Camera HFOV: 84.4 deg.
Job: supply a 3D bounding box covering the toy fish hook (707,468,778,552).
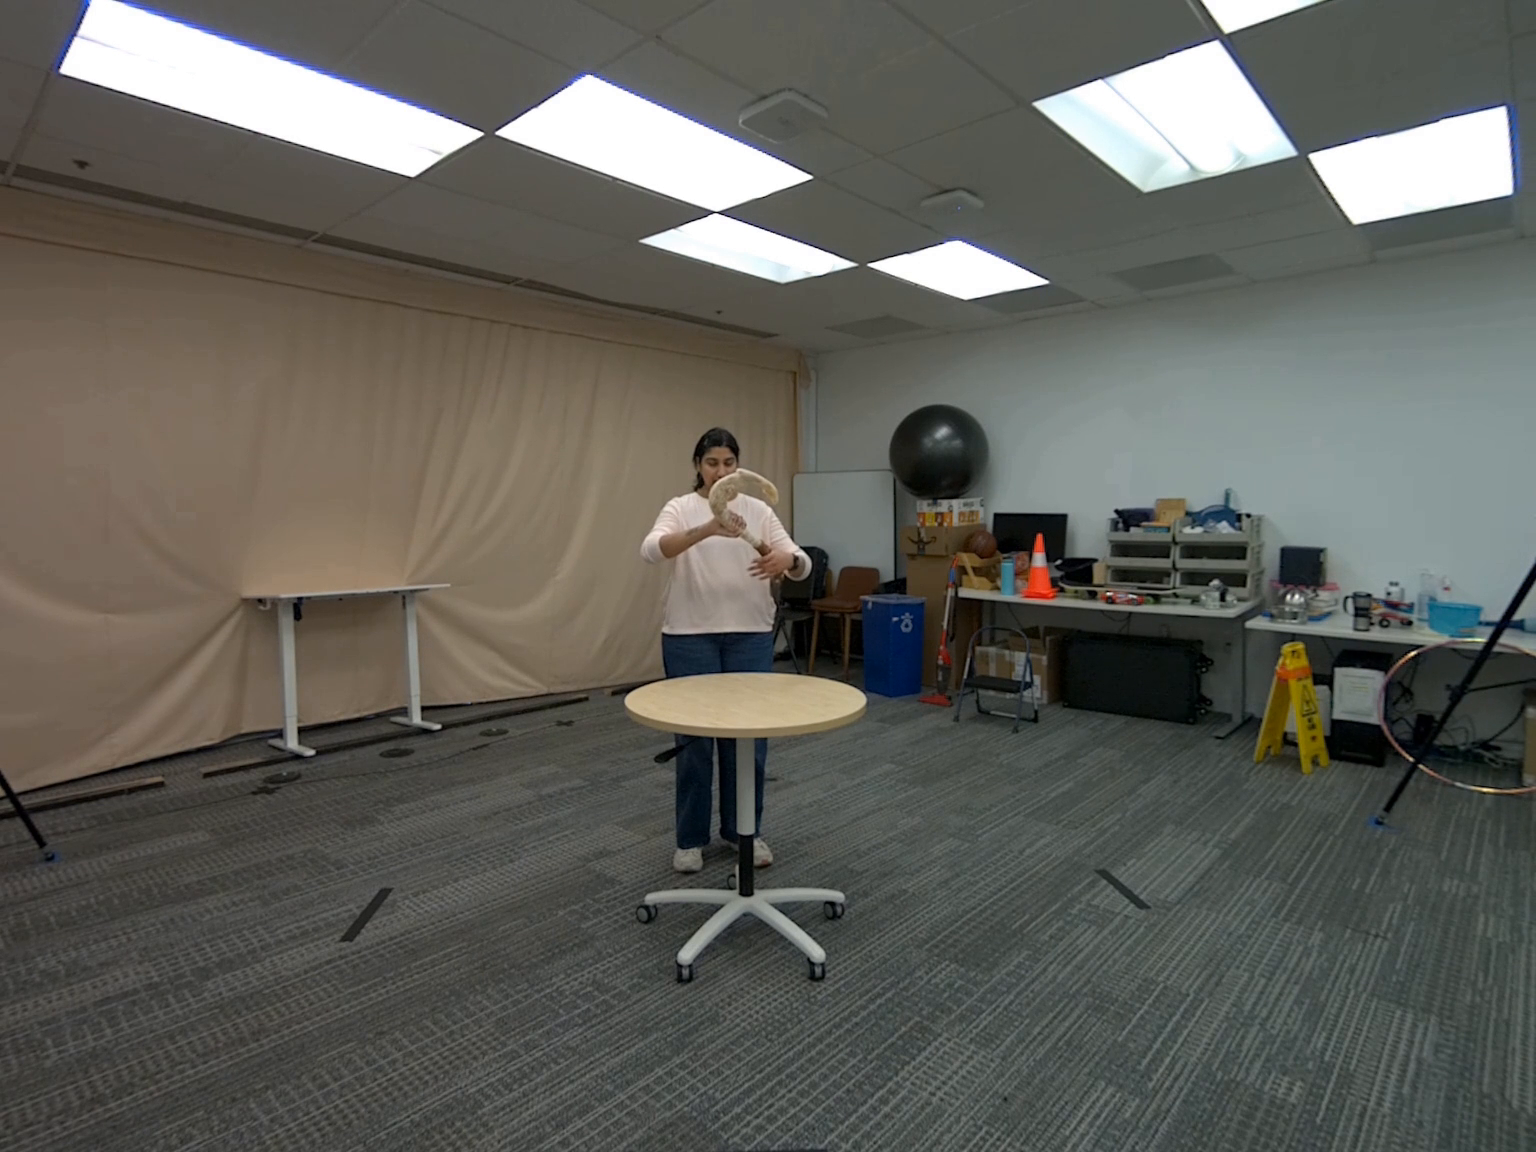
[{"bbox_3d":[-0.016,-0.165,2.922,0.227,0.490,0.049,-24,40,13],"label":"toy fish hook"}]
